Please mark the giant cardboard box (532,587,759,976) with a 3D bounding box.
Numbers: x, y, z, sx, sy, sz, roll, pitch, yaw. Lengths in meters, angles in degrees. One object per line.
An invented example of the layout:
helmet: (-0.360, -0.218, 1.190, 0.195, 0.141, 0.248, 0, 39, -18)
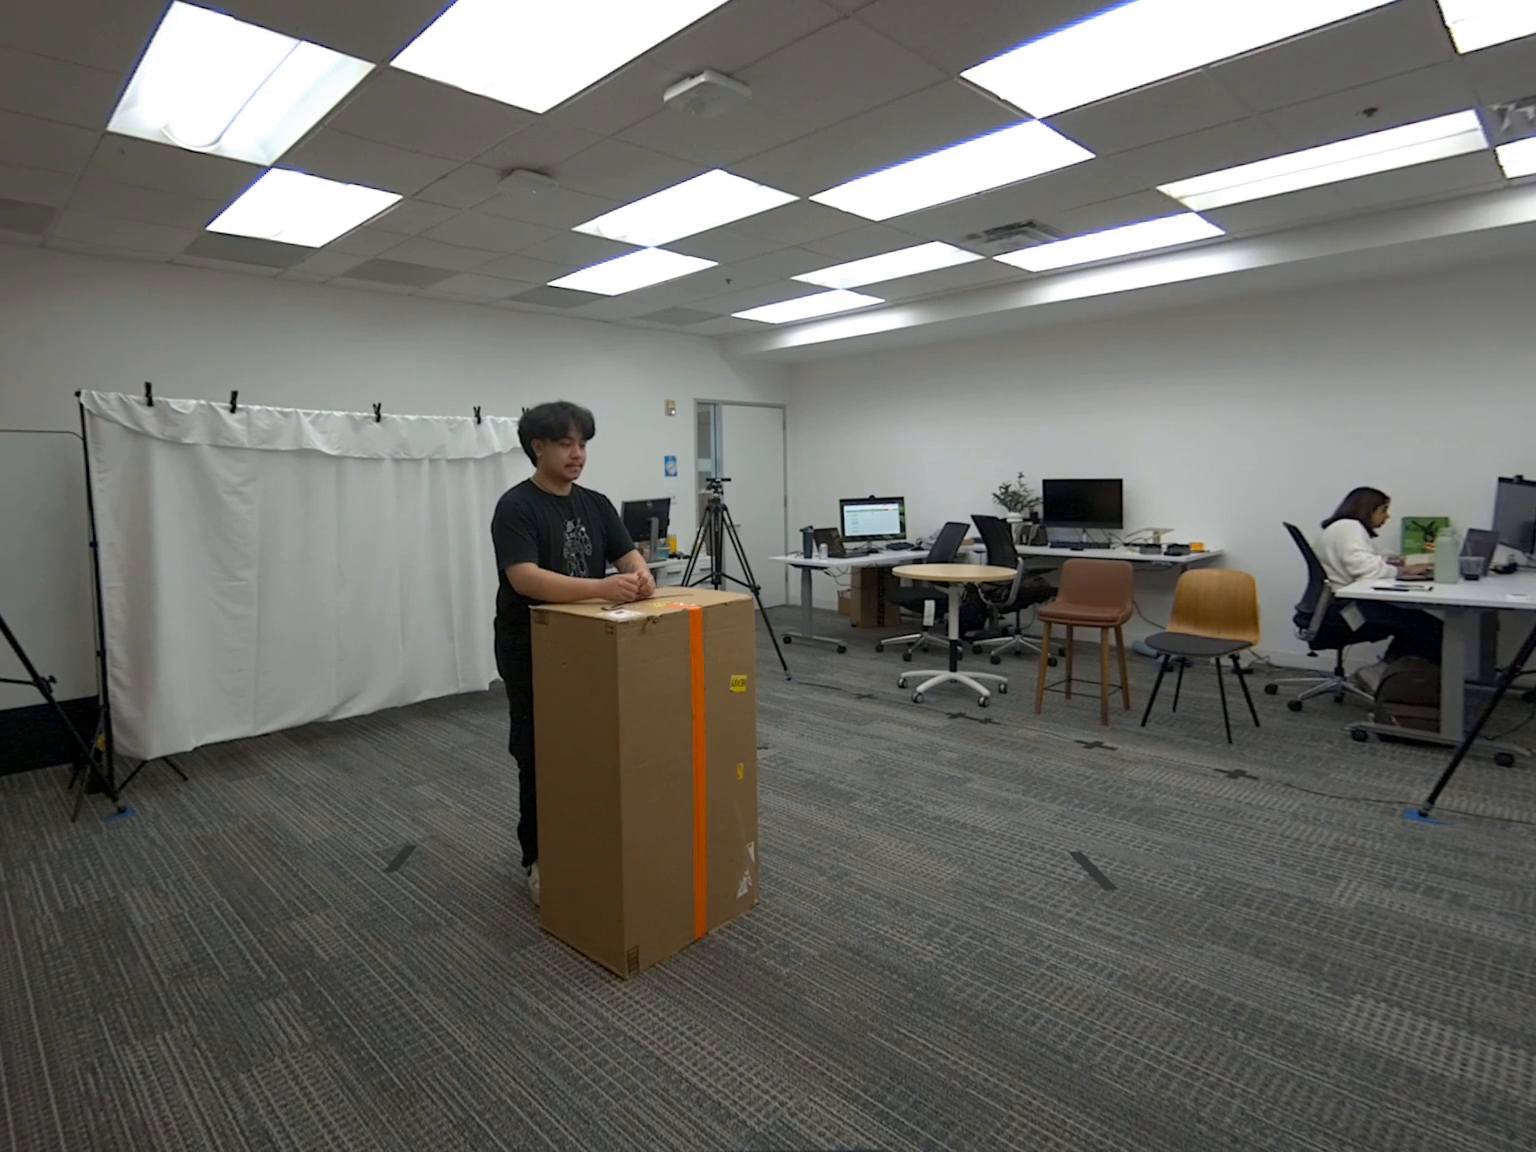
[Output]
giant cardboard box: (-0.374, 0.585, 2.706, 0.461, 1.022, 0.569, 4, 7, 43)
